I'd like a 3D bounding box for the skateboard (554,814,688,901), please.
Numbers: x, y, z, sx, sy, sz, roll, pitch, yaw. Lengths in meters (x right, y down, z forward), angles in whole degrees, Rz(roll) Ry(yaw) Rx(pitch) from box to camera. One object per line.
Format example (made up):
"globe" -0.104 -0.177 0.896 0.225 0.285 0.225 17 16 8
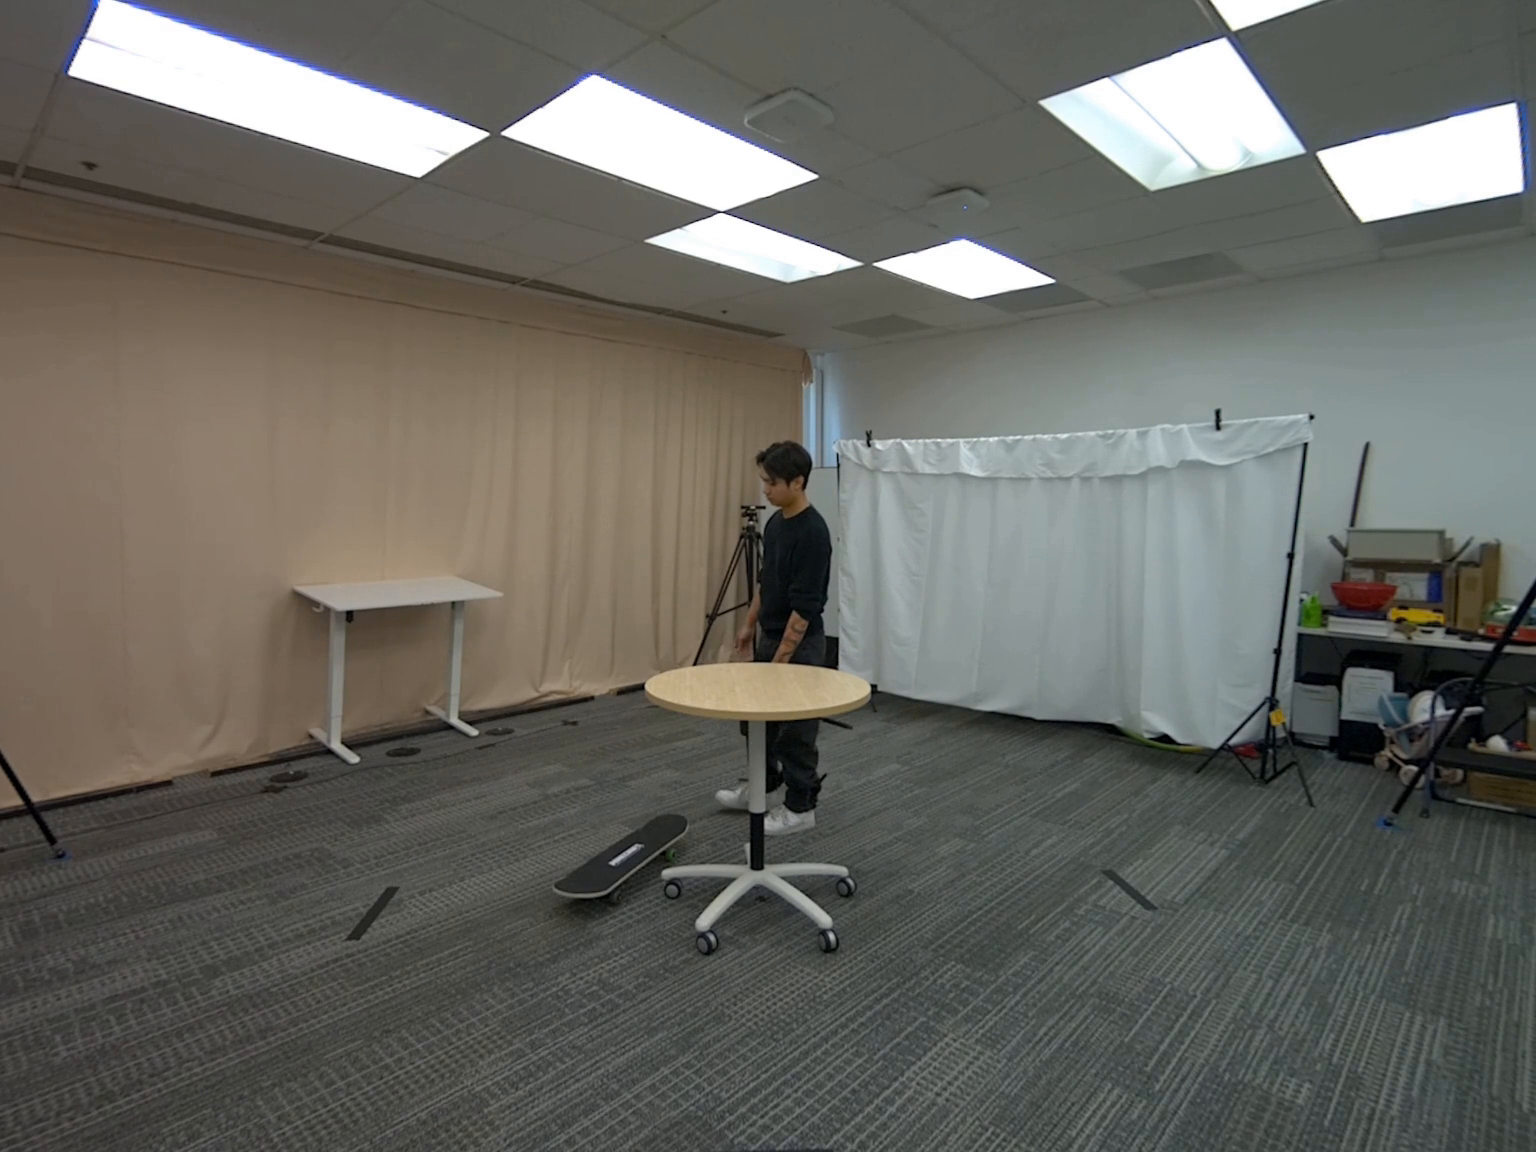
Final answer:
"skateboard" -0.532 1.070 3.162 0.198 0.110 0.768 1 5 24
